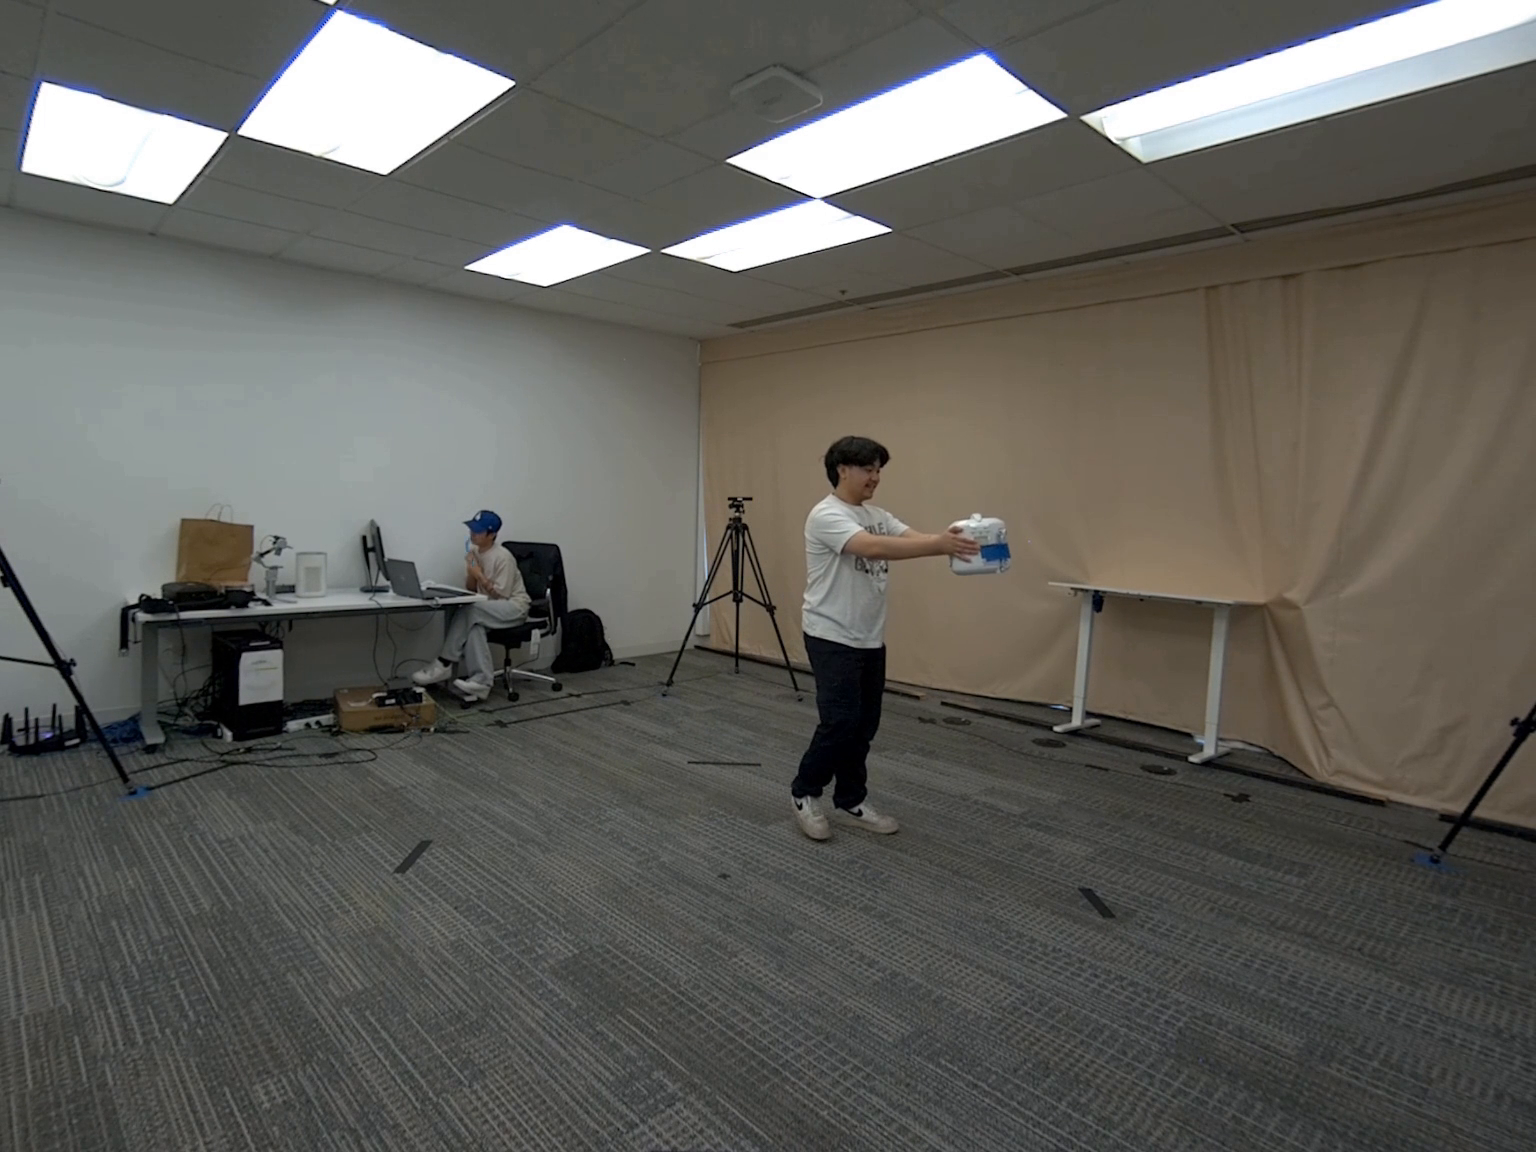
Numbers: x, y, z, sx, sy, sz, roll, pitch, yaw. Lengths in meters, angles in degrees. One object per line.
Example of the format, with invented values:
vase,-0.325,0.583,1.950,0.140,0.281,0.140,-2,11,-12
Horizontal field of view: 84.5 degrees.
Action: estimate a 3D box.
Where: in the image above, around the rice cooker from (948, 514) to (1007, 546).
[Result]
rice cooker,0.785,-0.119,3.182,0.219,0.233,0.218,-4,-3,8
